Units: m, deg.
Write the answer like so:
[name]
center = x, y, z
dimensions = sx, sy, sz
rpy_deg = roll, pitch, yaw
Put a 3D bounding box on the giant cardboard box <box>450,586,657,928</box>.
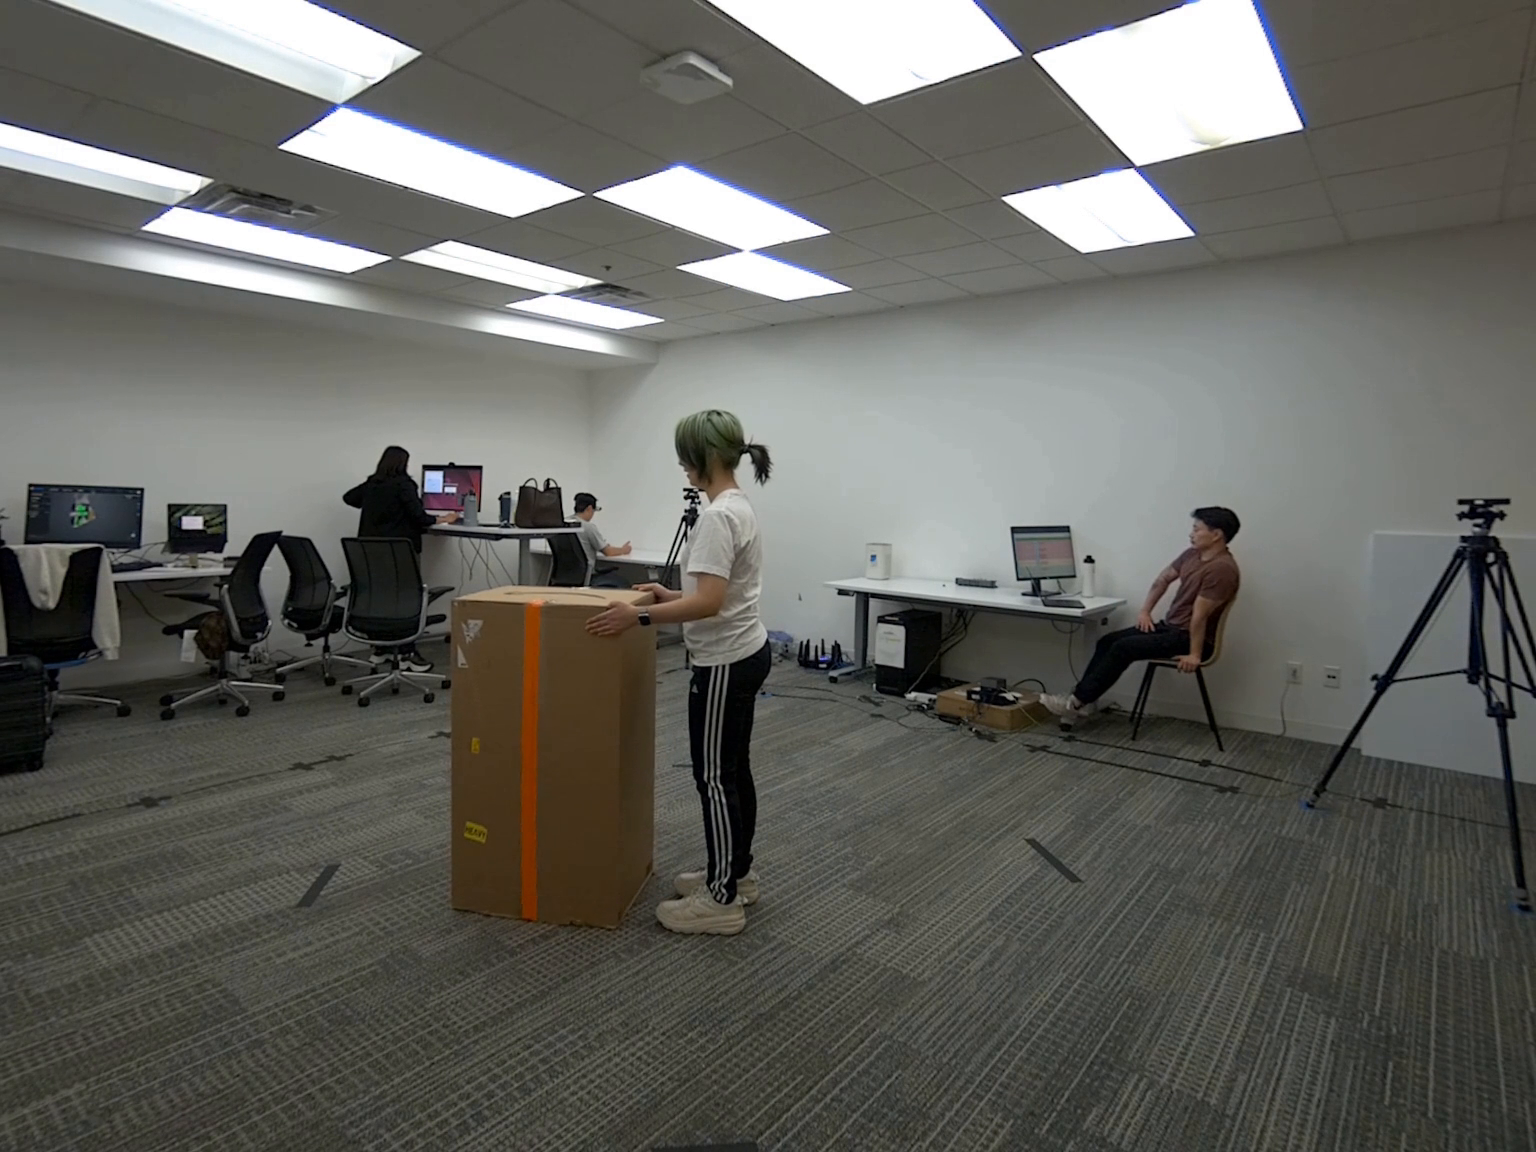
[giant cardboard box]
center = -0.726, 0.575, 2.902
dimensions = 0.585, 1.023, 0.422
rpy_deg = 2, 3, 12
